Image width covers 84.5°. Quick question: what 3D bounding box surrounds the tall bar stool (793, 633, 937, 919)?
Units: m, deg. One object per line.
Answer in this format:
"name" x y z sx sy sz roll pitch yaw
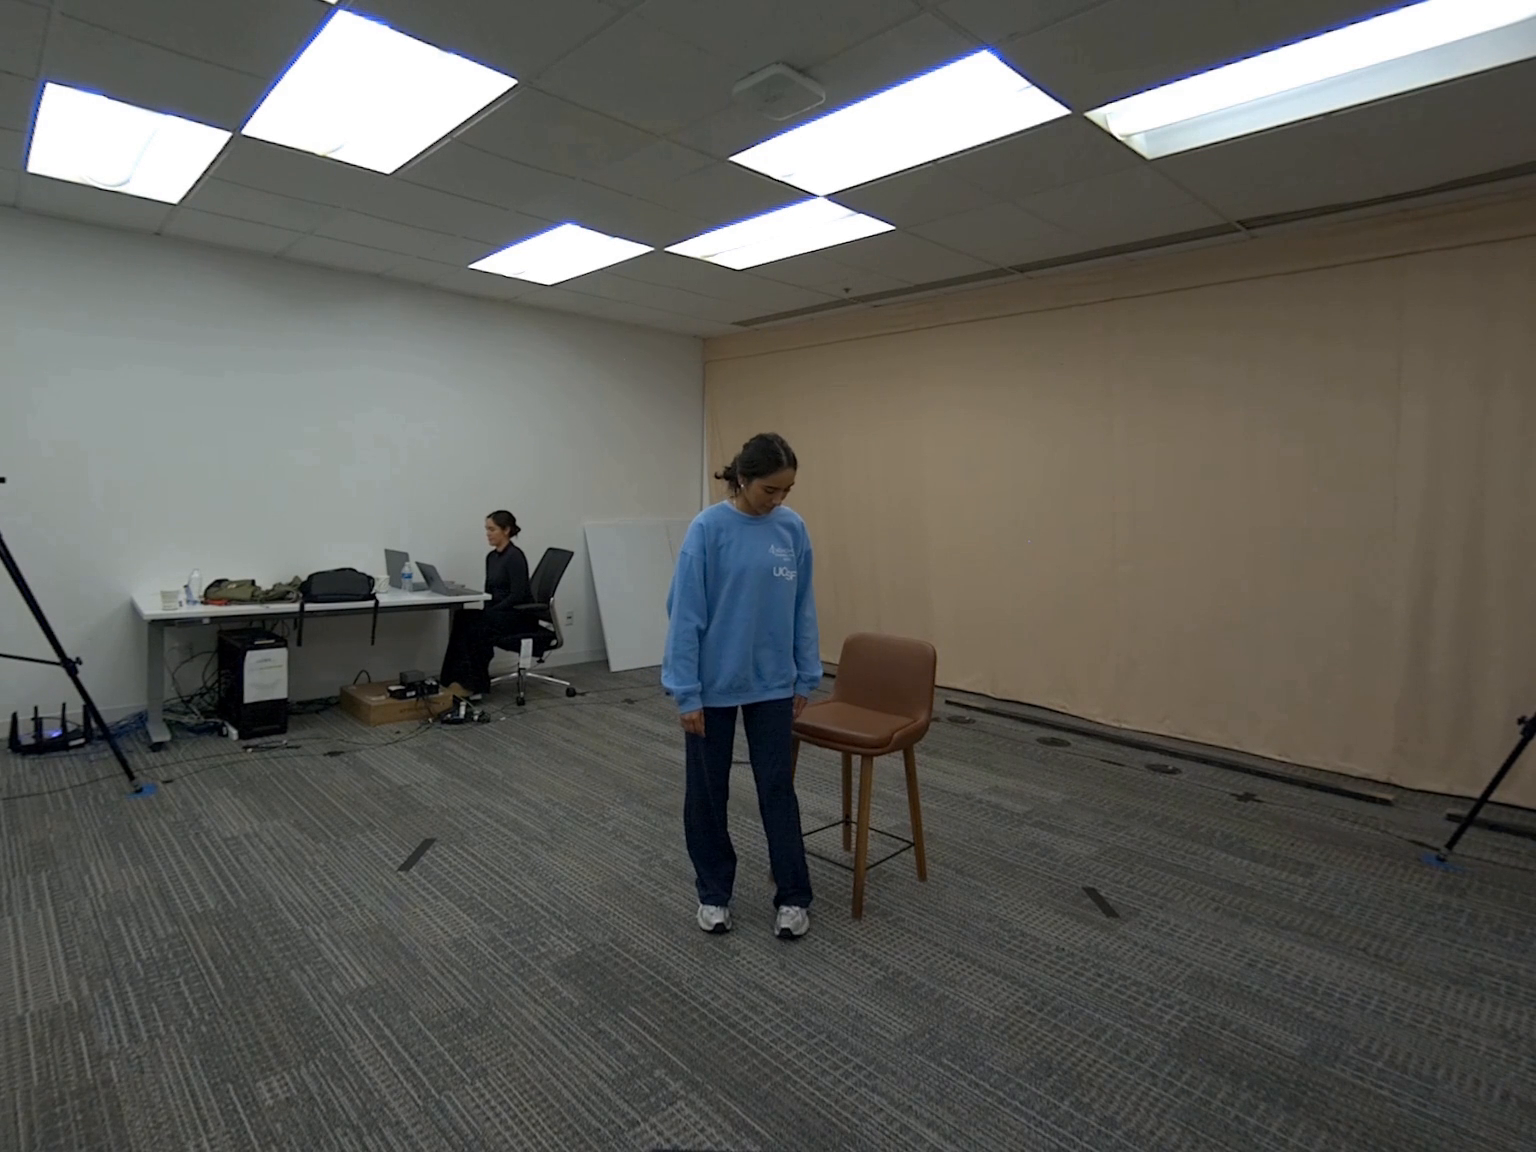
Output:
"tall bar stool" 0.315 0.681 3.058 0.468 0.889 0.456 4 2 44
